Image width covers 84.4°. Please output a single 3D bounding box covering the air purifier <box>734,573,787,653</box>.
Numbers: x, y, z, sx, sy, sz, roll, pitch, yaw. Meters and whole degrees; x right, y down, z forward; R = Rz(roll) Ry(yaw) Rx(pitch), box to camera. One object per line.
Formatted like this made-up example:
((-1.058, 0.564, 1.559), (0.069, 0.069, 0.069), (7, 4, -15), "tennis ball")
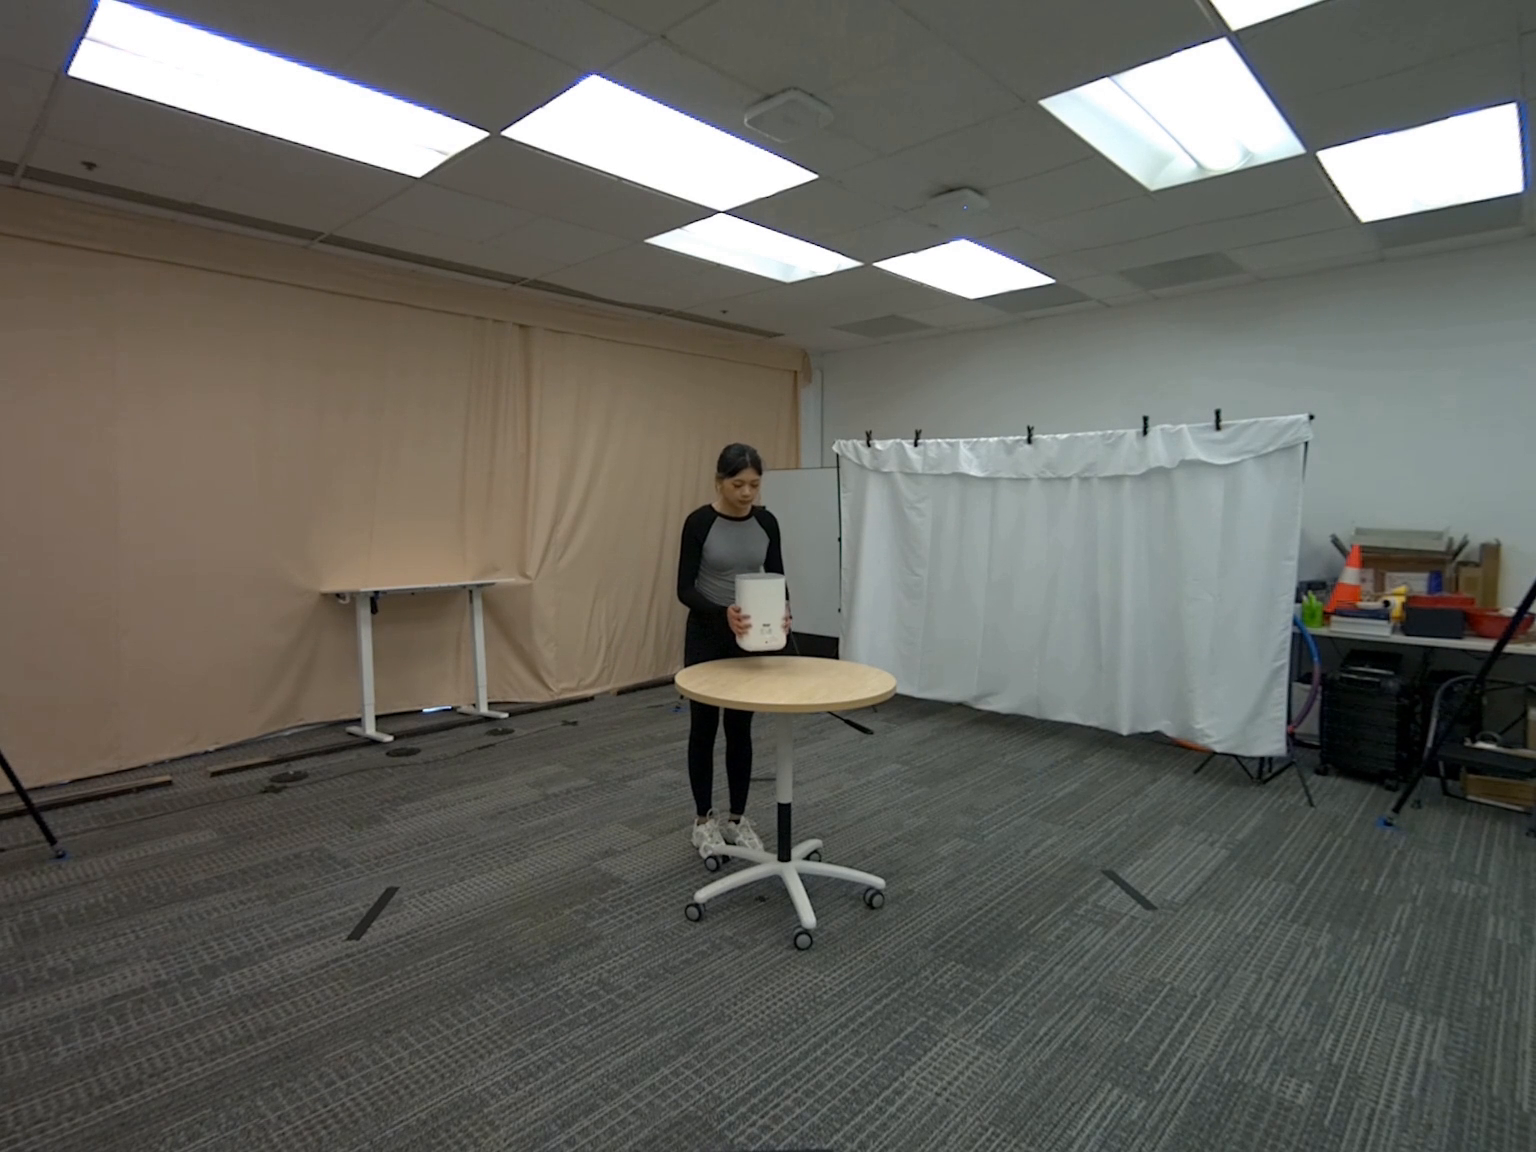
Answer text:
((-0.028, 0.130, 3.079), (0.169, 0.265, 0.174), (-2, 4, -11), "air purifier")
